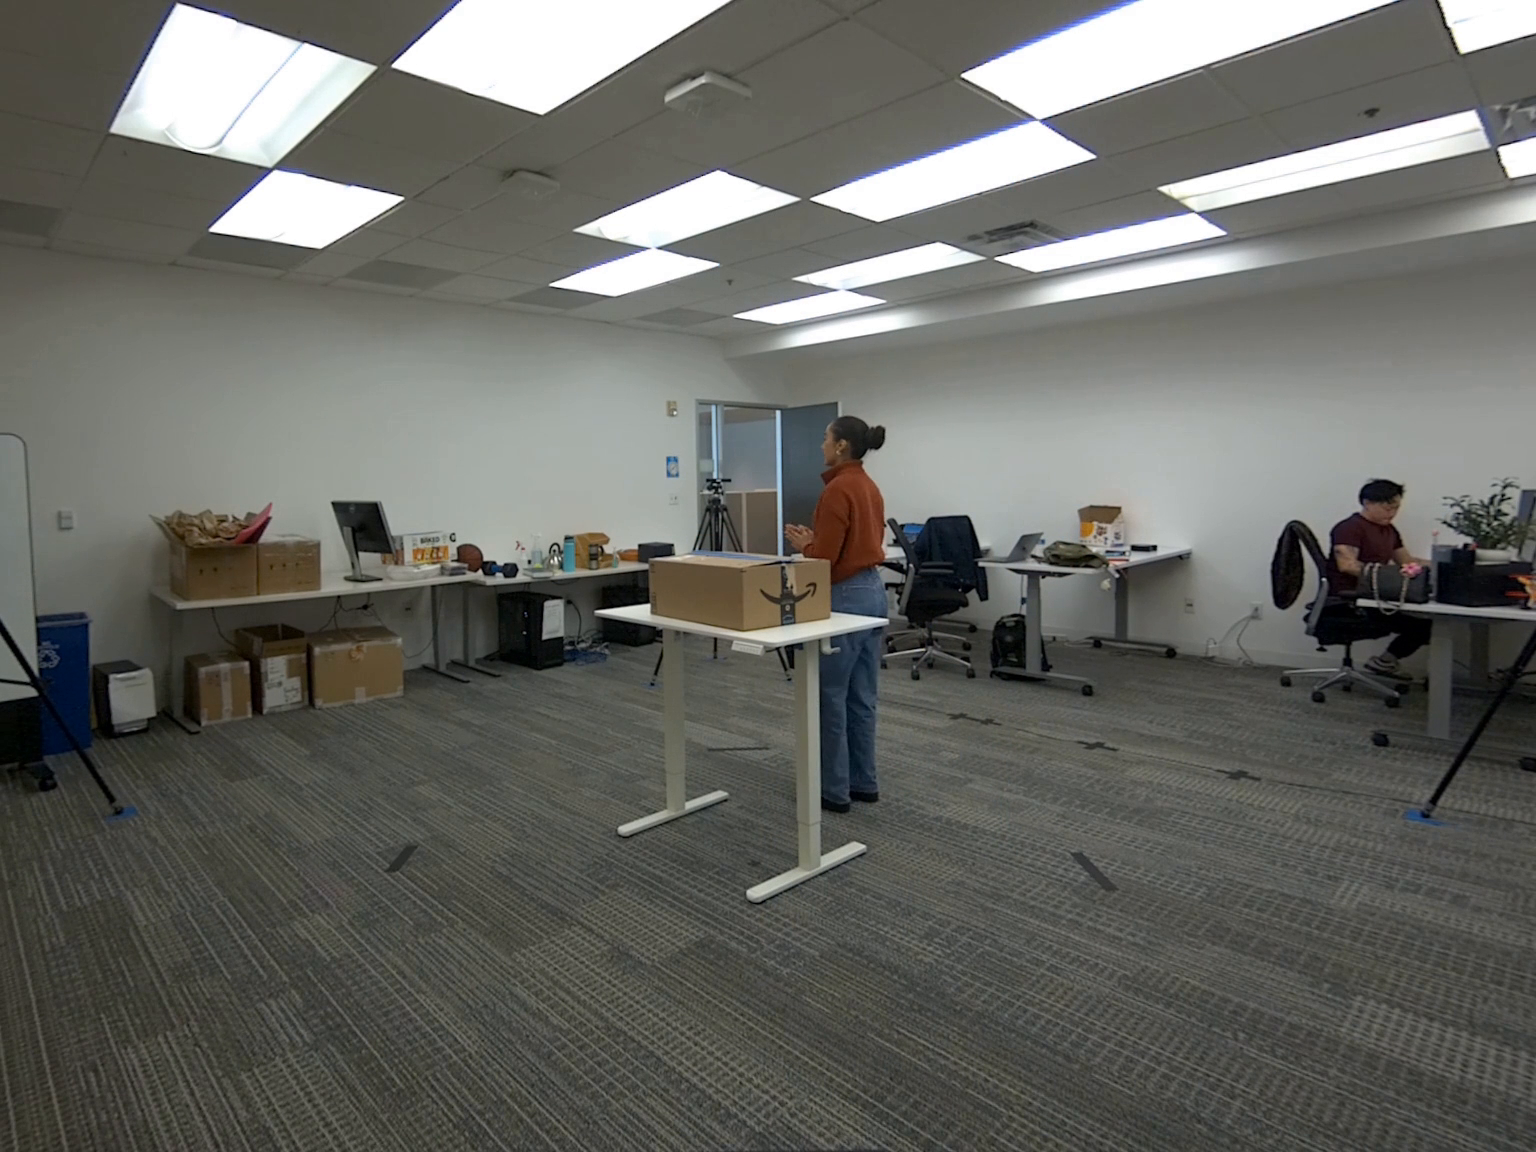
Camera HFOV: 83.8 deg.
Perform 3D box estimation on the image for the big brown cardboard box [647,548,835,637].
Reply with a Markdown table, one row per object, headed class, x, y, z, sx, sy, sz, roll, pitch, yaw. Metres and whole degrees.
| class | x | y | z | sx | sy | sz | roll | pitch | yaw |
| --- | --- | --- | --- | --- | --- | --- | --- | --- | --- |
| big brown cardboard box | -0.113 | 0.042 | 3.204 | 0.407 | 0.232 | 0.607 | -5 | 8 | -40 |
